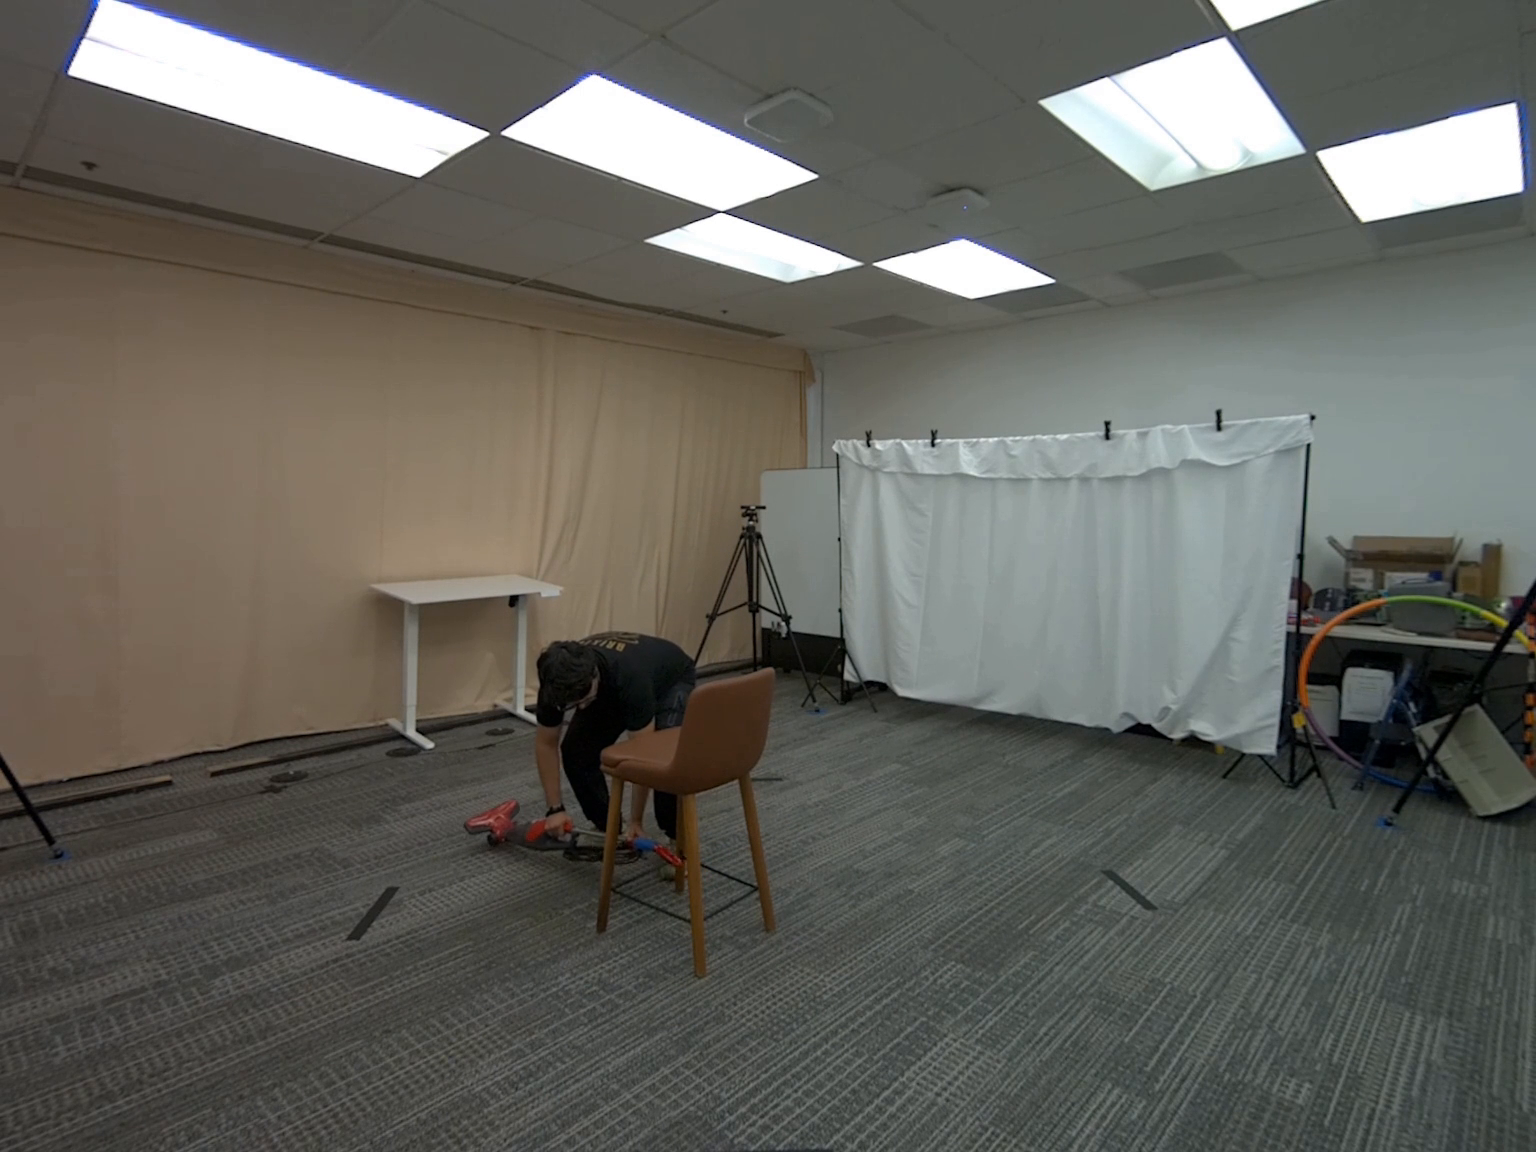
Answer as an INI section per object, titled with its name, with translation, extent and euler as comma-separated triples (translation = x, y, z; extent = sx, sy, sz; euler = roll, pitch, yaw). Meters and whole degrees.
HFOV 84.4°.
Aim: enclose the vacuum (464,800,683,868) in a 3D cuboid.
[vacuum]
translation = -0.722, 1.002, 3.125
extent = 1.082, 0.143, 0.245
euler = -2, 7, 41
